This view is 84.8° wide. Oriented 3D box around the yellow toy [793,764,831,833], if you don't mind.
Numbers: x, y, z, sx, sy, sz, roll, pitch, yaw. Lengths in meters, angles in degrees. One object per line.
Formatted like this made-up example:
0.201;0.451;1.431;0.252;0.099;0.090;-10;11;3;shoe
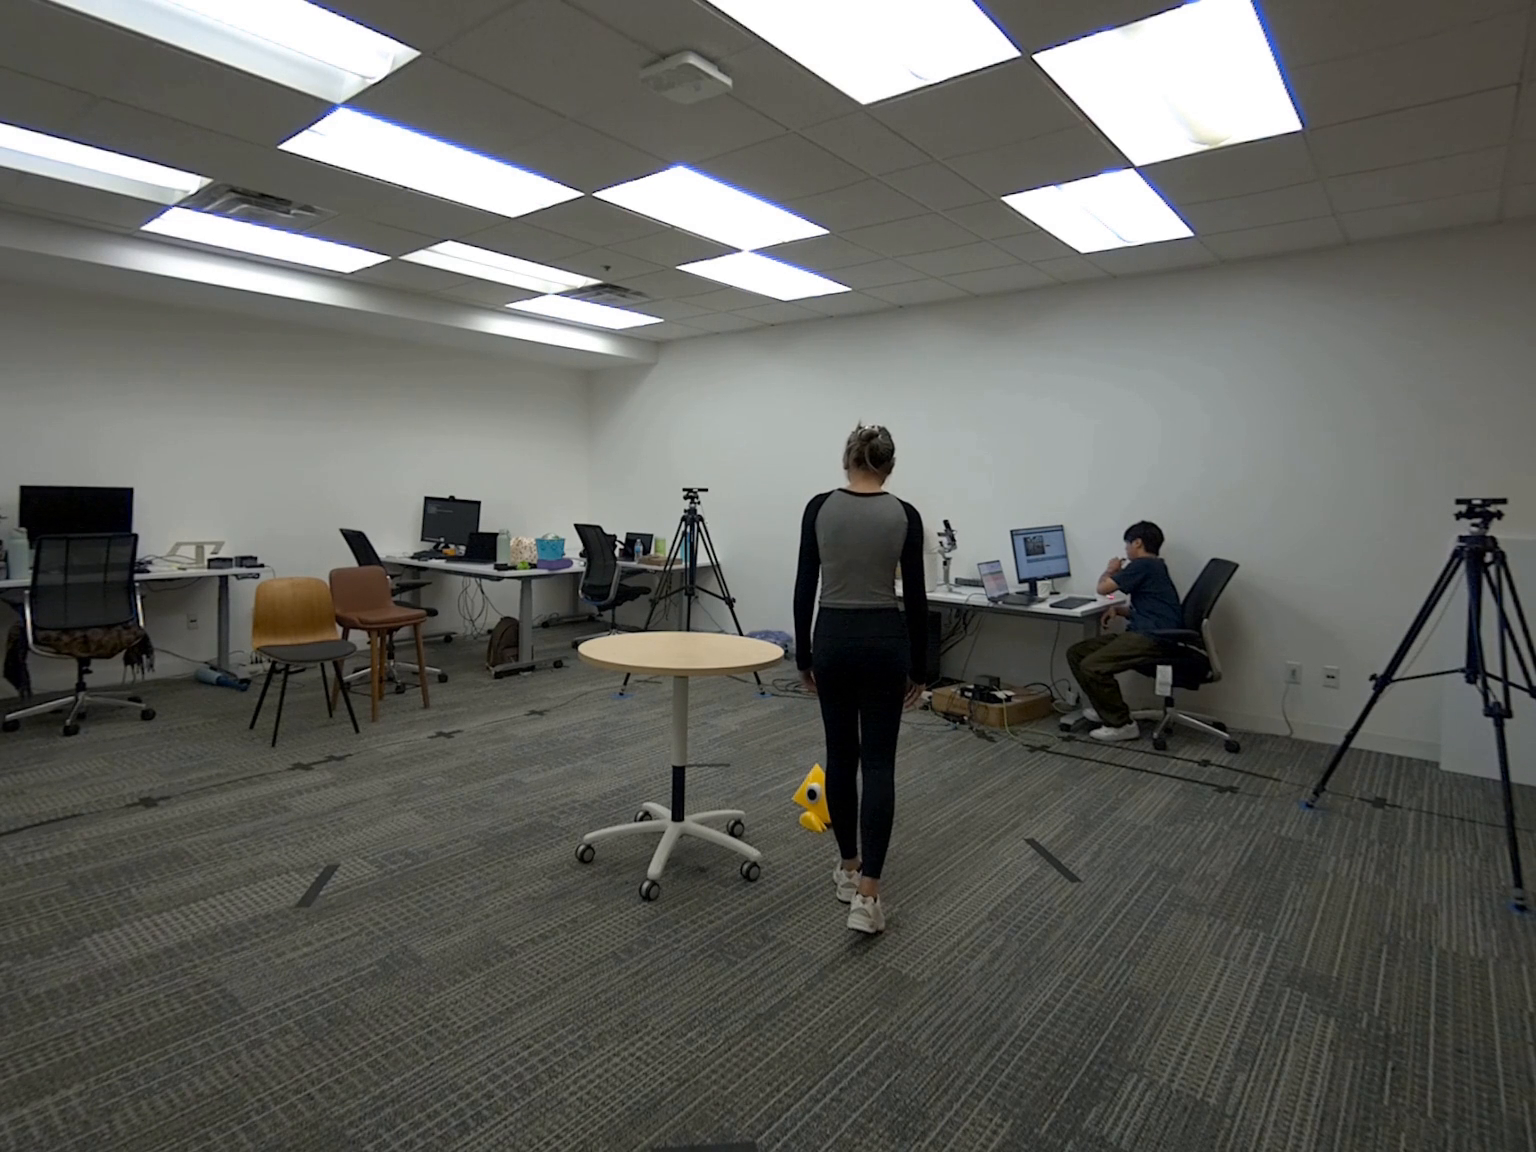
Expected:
0.226;0.920;3.577;0.200;0.230;0.198;0;4;-26;yellow toy
